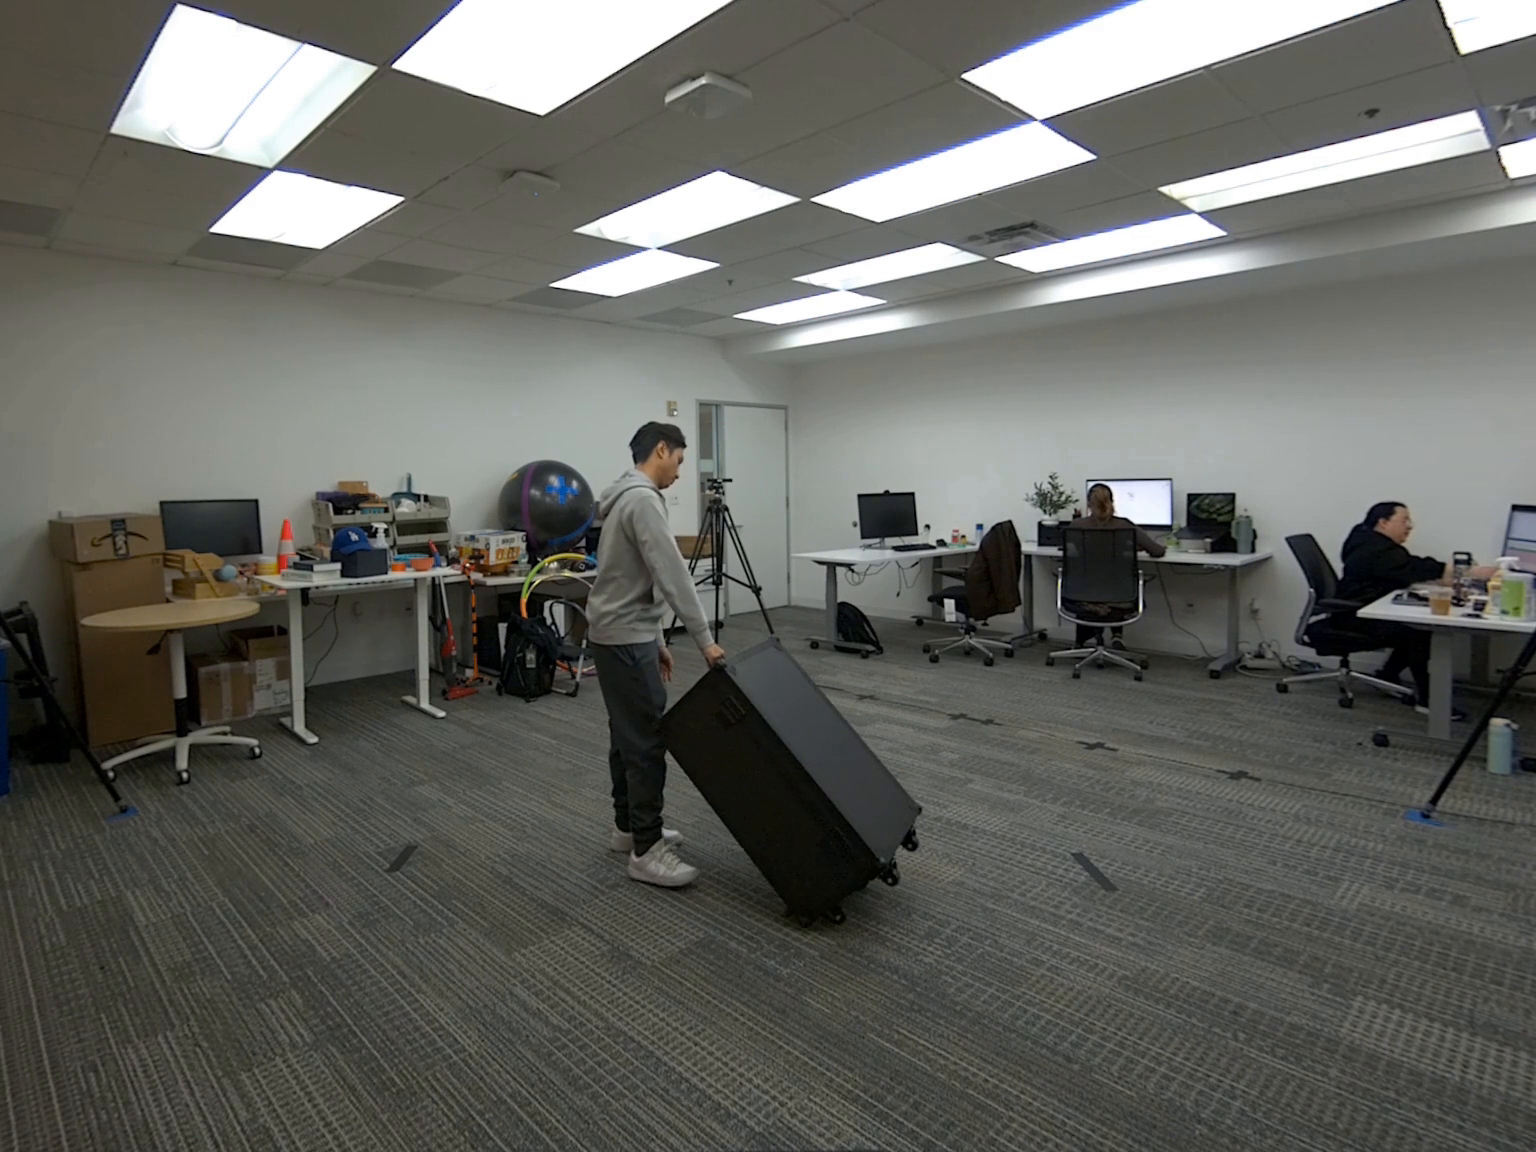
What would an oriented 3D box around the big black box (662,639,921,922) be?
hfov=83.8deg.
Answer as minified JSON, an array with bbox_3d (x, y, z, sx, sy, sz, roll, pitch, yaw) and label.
[{"bbox_3d":[0.081,0.683,2.859,0.396,0.878,0.511,-47,-15,21],"label":"big black box"}]
